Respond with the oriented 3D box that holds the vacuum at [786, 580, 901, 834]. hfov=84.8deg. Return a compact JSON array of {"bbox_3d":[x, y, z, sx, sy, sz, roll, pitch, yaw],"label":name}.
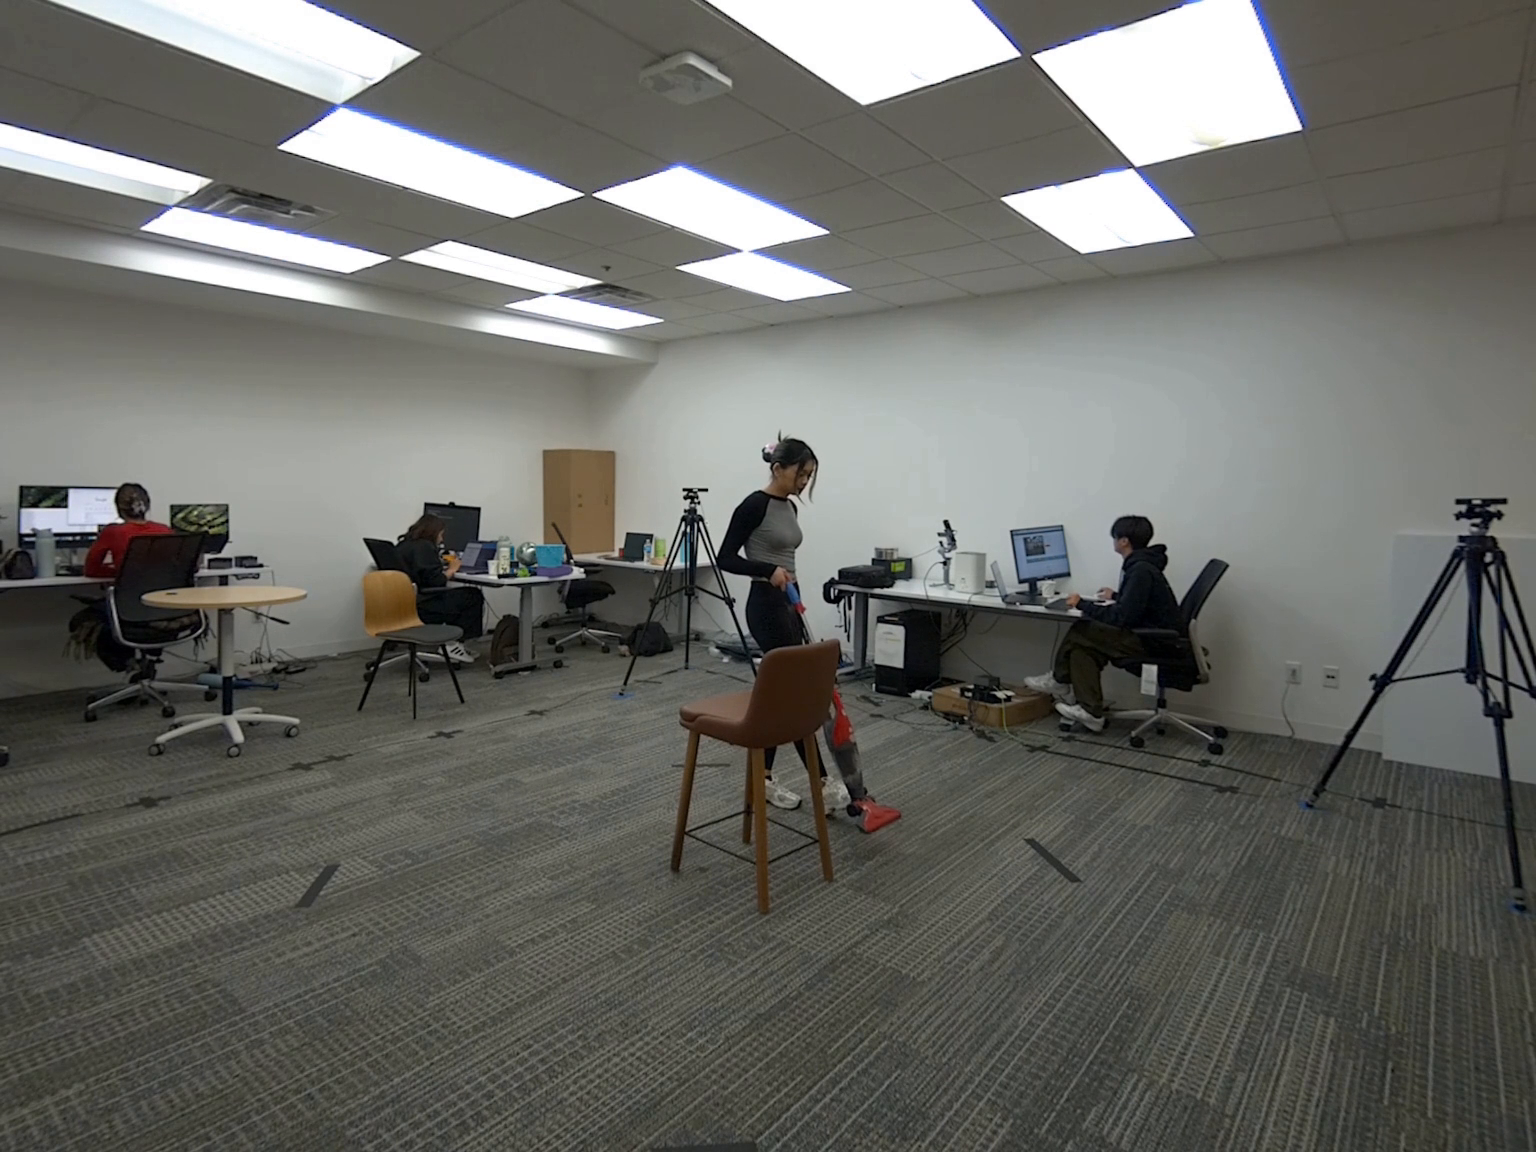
[{"bbox_3d":[0.231,0.462,3.441,0.145,1.069,0.245,-32,-18,37],"label":"vacuum"}]
